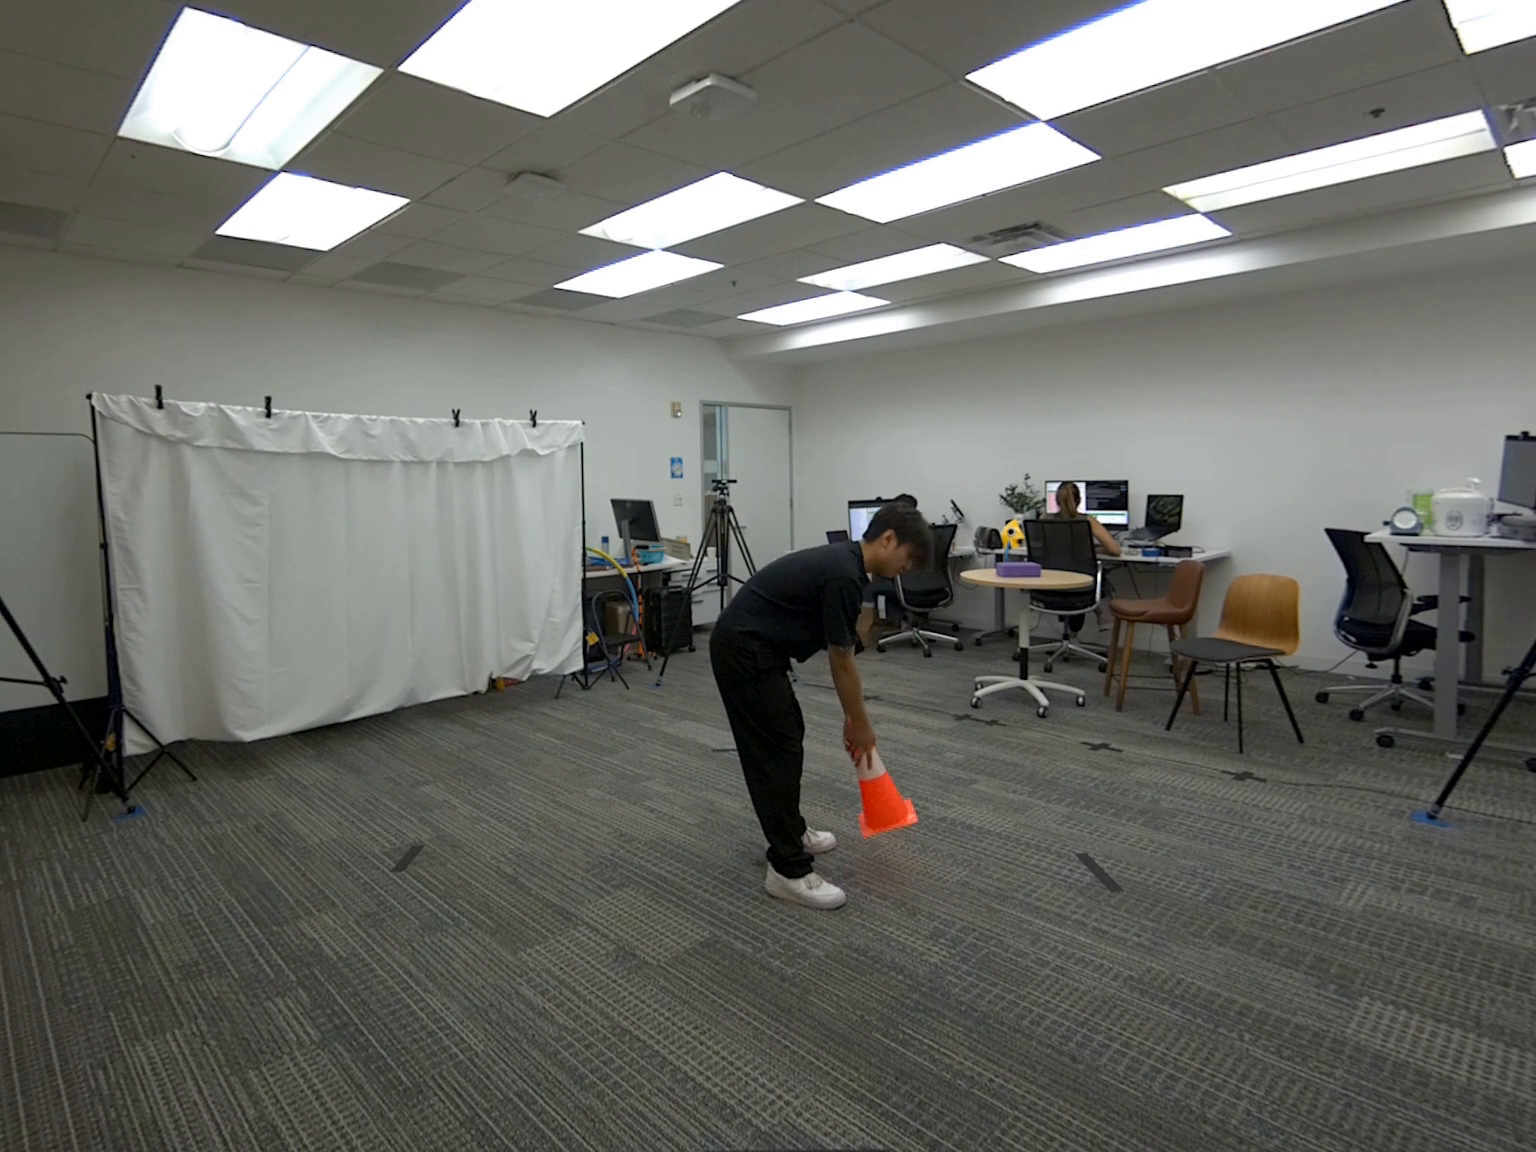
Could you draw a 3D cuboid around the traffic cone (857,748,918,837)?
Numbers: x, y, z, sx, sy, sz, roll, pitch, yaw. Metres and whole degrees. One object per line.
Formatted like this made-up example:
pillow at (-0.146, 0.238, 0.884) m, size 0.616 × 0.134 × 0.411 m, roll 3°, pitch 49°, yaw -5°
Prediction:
traffic cone at (0.364, 0.671, 2.996) m, size 0.204 × 0.383 × 0.205 m, roll -18°, pitch 3°, yaw 2°
